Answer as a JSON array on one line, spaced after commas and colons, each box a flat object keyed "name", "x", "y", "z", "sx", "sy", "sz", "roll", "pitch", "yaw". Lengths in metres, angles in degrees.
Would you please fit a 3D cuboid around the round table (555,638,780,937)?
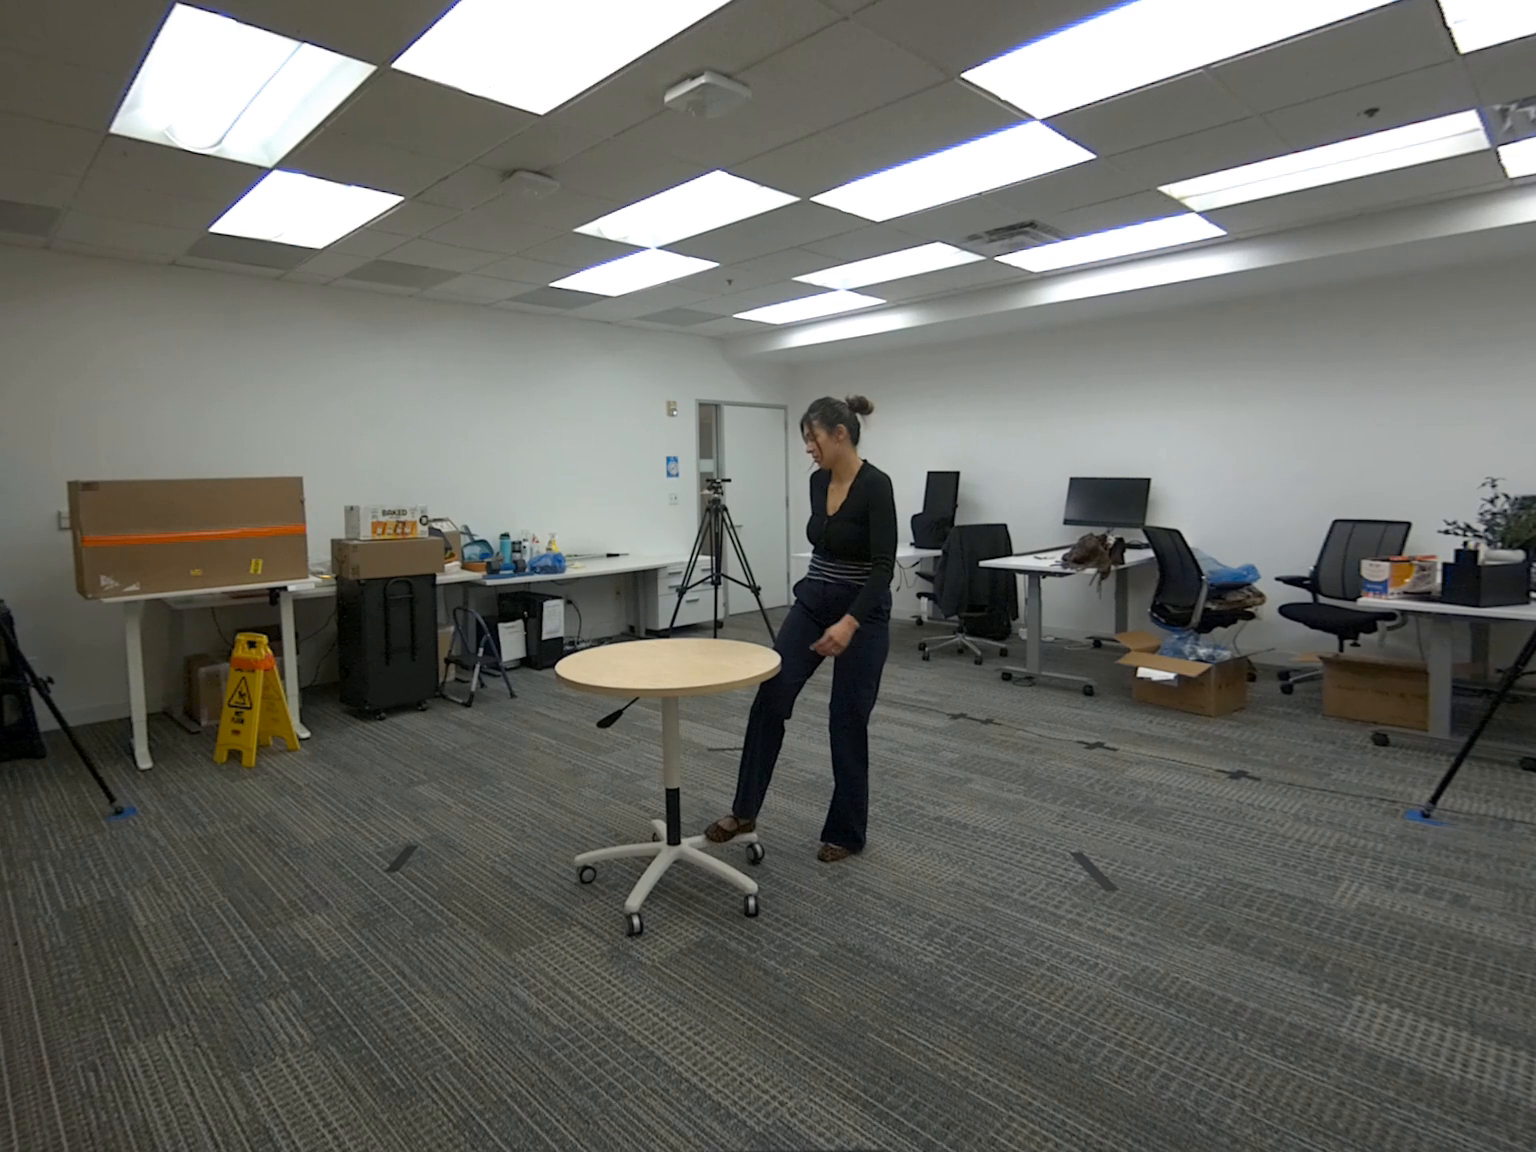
[{"name": "round table", "x": -0.326, "y": 0.680, "z": 2.939, "sx": 0.763, "sy": 0.790, "sz": 0.768, "roll": -2, "pitch": 5, "yaw": -2}]
